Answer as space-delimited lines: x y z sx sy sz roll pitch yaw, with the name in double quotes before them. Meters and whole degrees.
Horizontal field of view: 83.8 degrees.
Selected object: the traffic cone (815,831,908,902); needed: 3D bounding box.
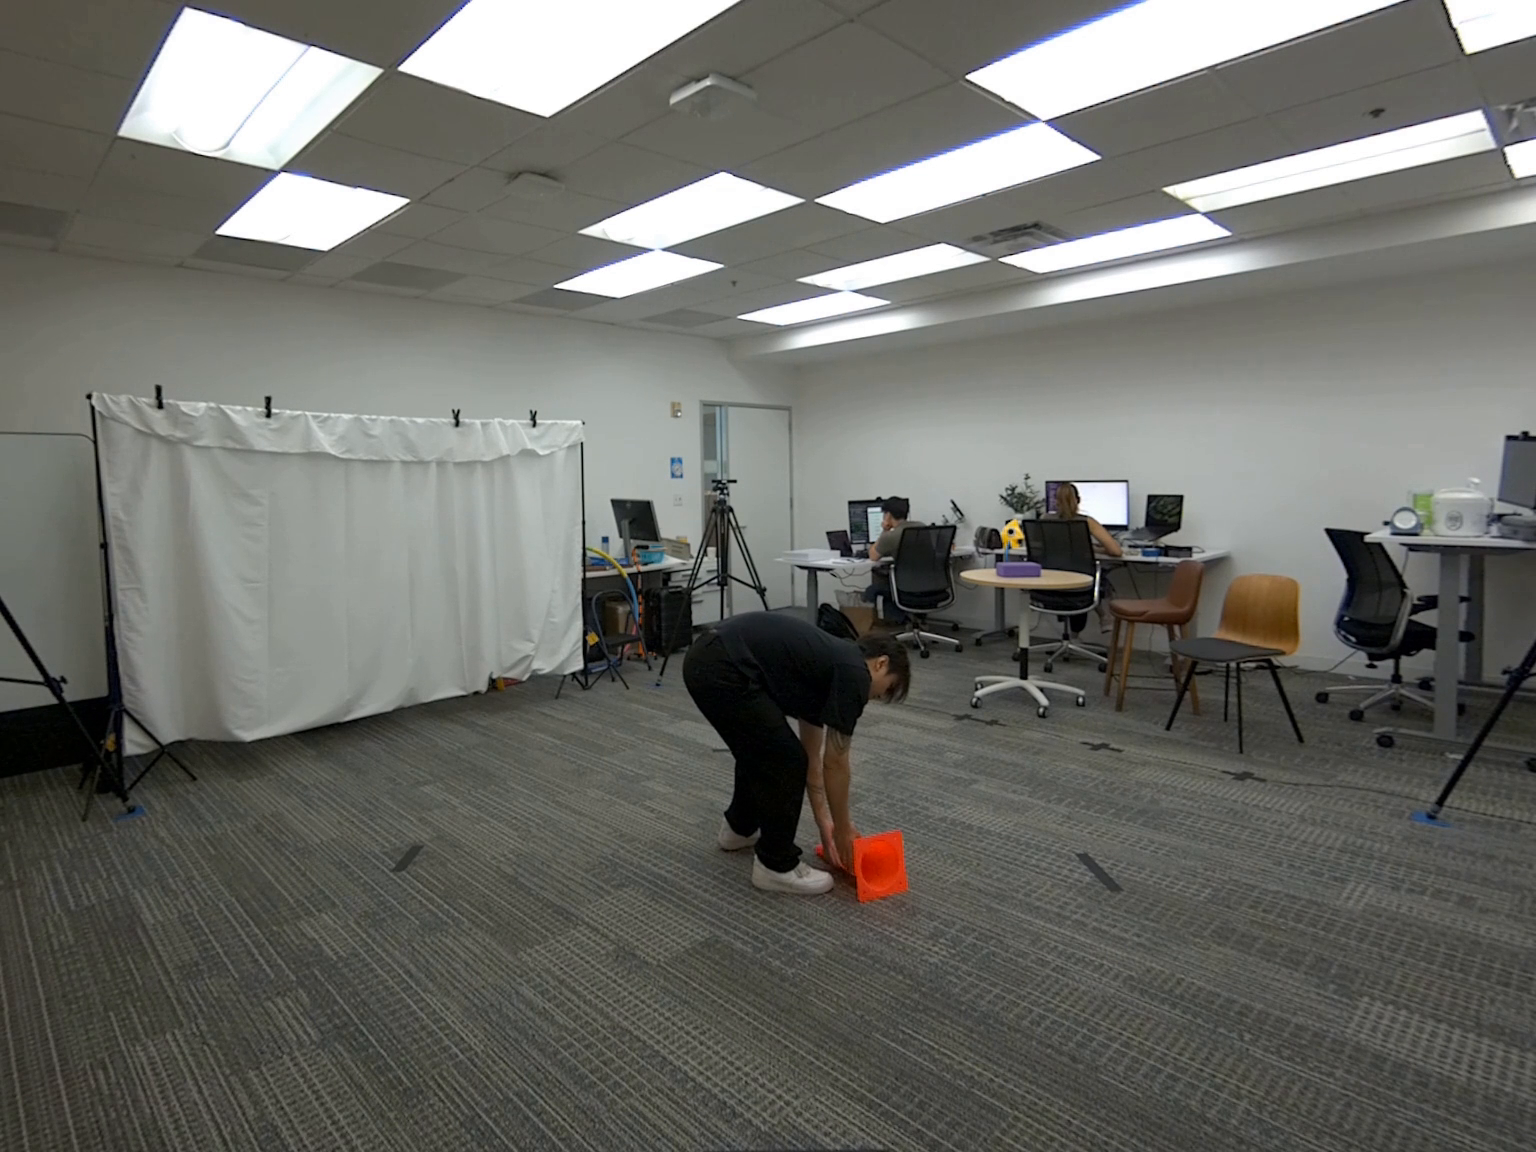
"traffic cone" 0.294 0.990 3.032 0.200 0.205 0.390 -1 -6 -28
